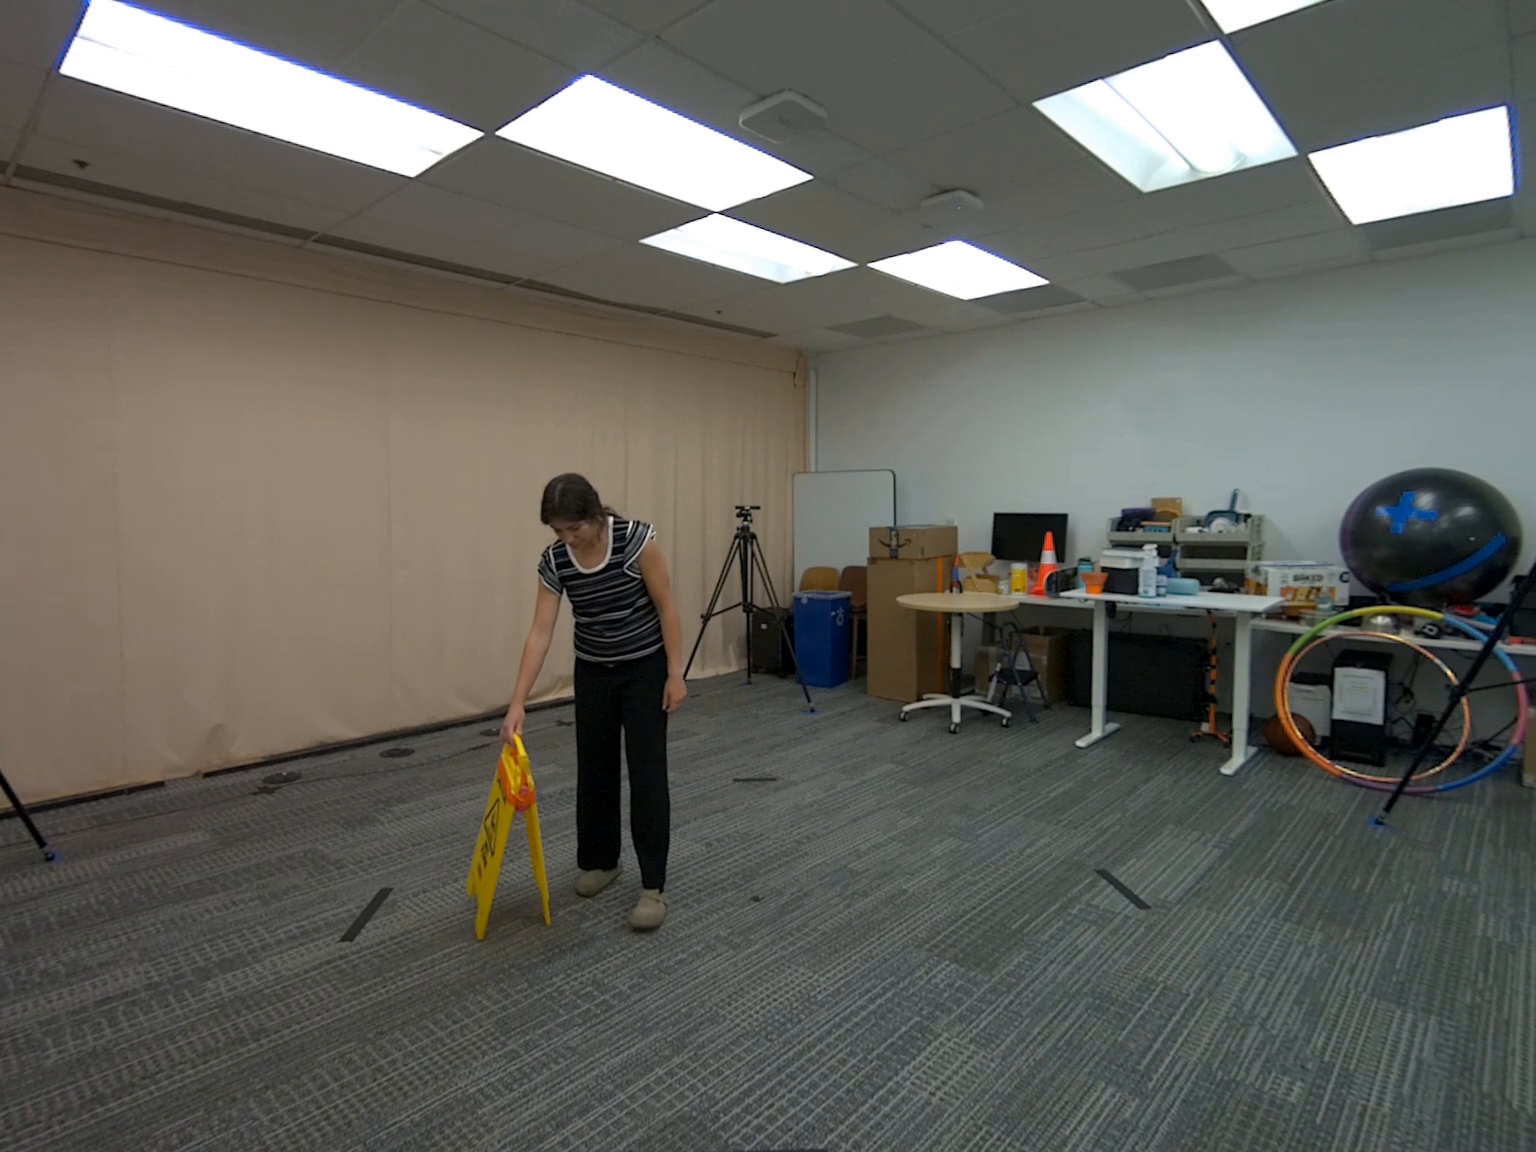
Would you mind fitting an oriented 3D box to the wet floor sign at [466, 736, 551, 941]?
[{"bbox_3d":[-0.840,0.818,2.773,0.283,0.641,0.291,1,19,-25],"label":"wet floor sign"}]
